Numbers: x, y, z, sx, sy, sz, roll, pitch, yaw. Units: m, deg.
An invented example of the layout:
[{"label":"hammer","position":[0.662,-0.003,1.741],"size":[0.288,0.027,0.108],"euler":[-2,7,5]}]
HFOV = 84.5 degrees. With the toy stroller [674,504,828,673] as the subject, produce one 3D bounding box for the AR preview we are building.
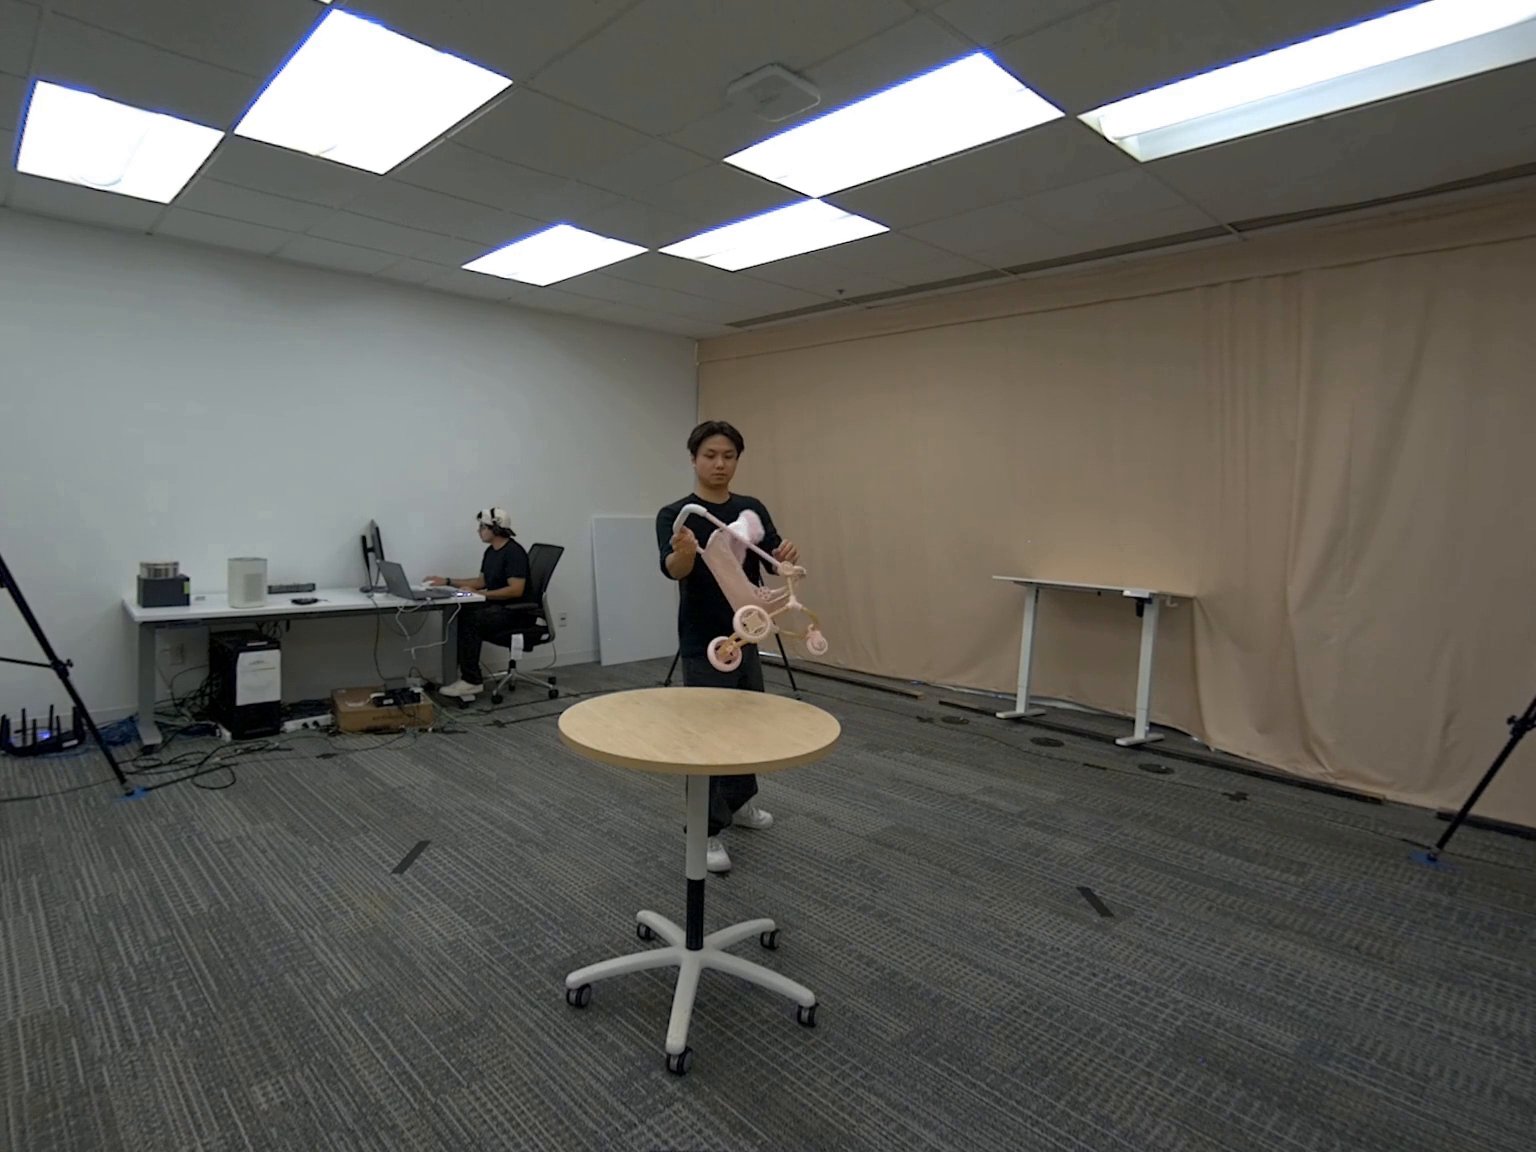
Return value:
[{"label":"toy stroller","position":[-0.048,0.032,2.574],"size":[0.337,0.545,0.280],"euler":[-11,-23,-22]}]
